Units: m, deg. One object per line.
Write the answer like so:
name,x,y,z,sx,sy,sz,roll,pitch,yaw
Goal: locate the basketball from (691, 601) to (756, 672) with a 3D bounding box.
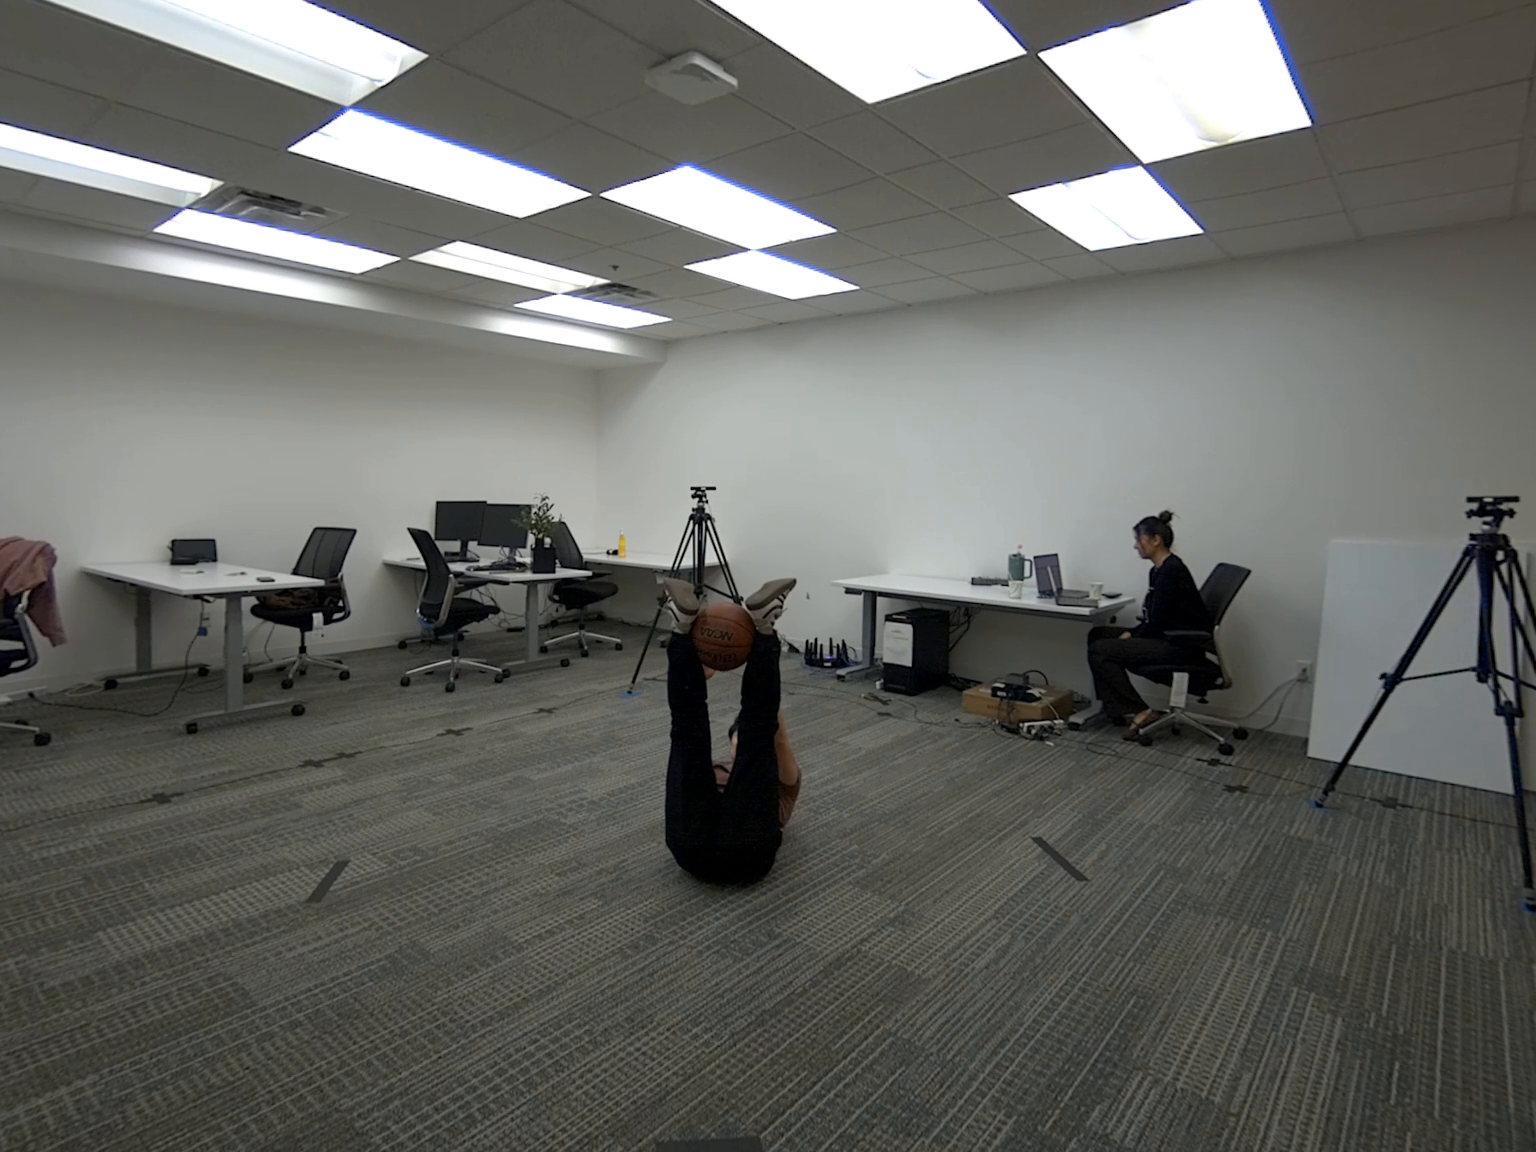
basketball,-0.163,0.201,2.913,0.236,0.235,0.237,-3,3,-2
